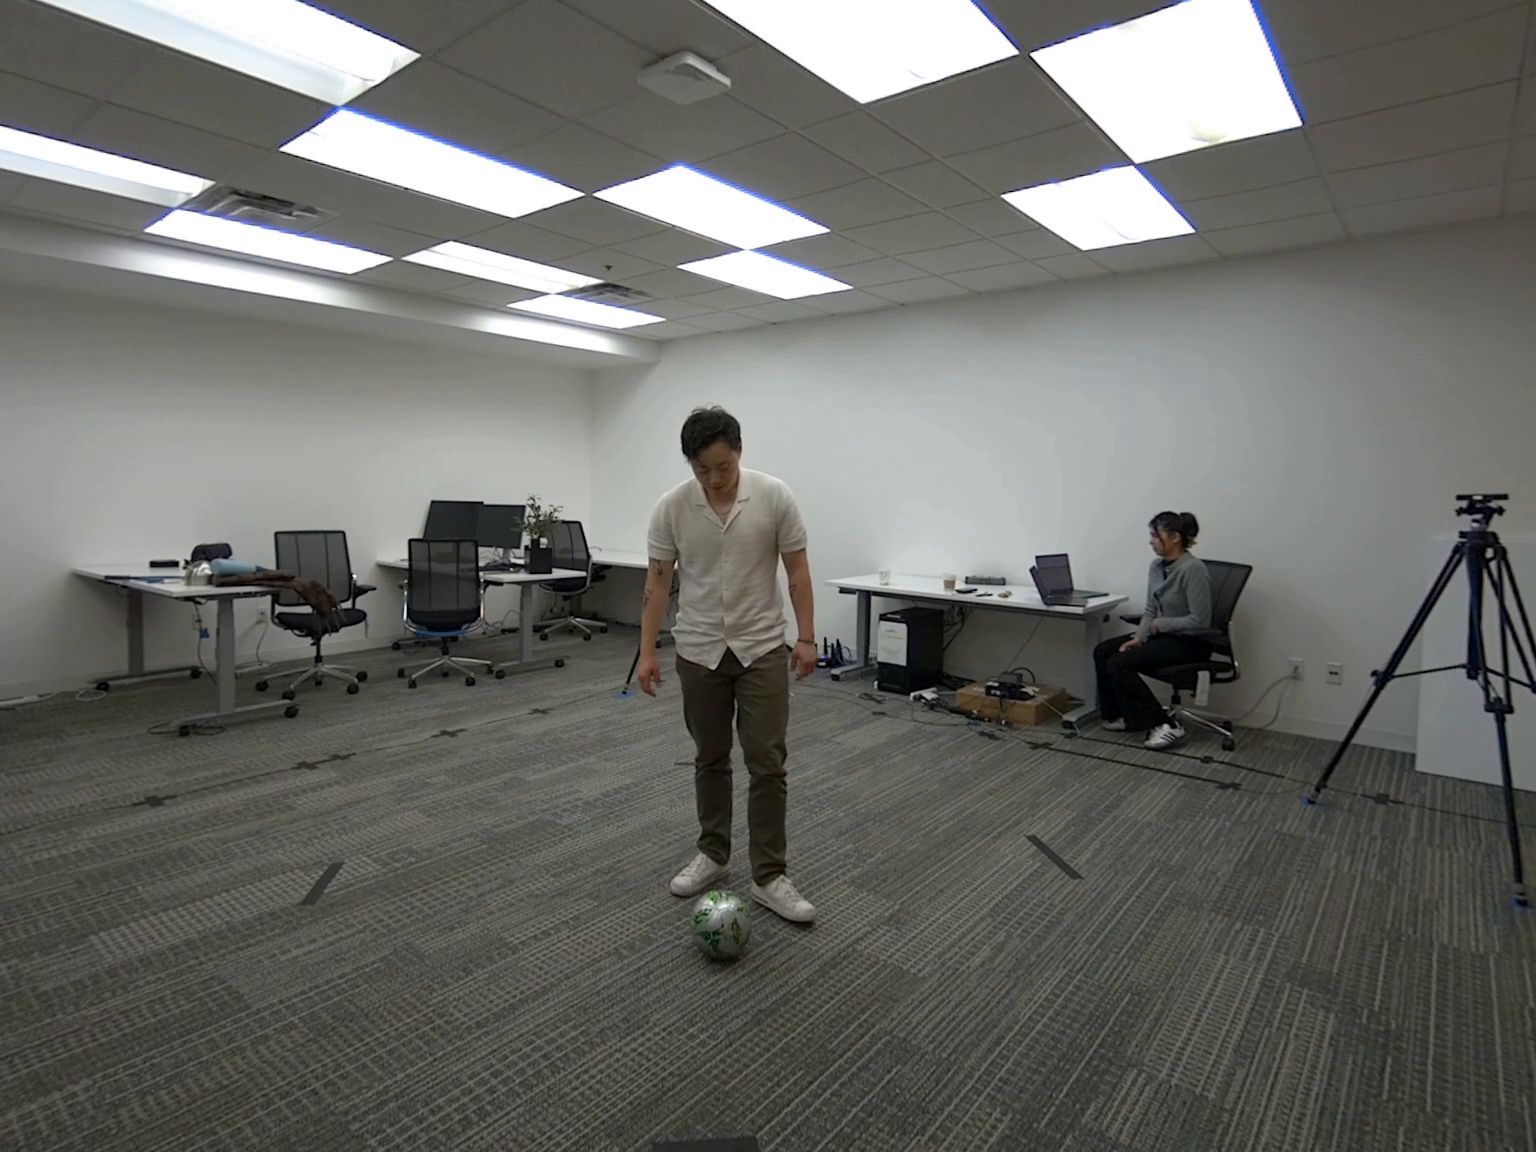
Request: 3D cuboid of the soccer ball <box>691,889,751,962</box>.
[{"bbox_3d":[-0.146,1.029,2.527,0.187,0.187,0.188,1,4,-2],"label":"soccer ball"}]
